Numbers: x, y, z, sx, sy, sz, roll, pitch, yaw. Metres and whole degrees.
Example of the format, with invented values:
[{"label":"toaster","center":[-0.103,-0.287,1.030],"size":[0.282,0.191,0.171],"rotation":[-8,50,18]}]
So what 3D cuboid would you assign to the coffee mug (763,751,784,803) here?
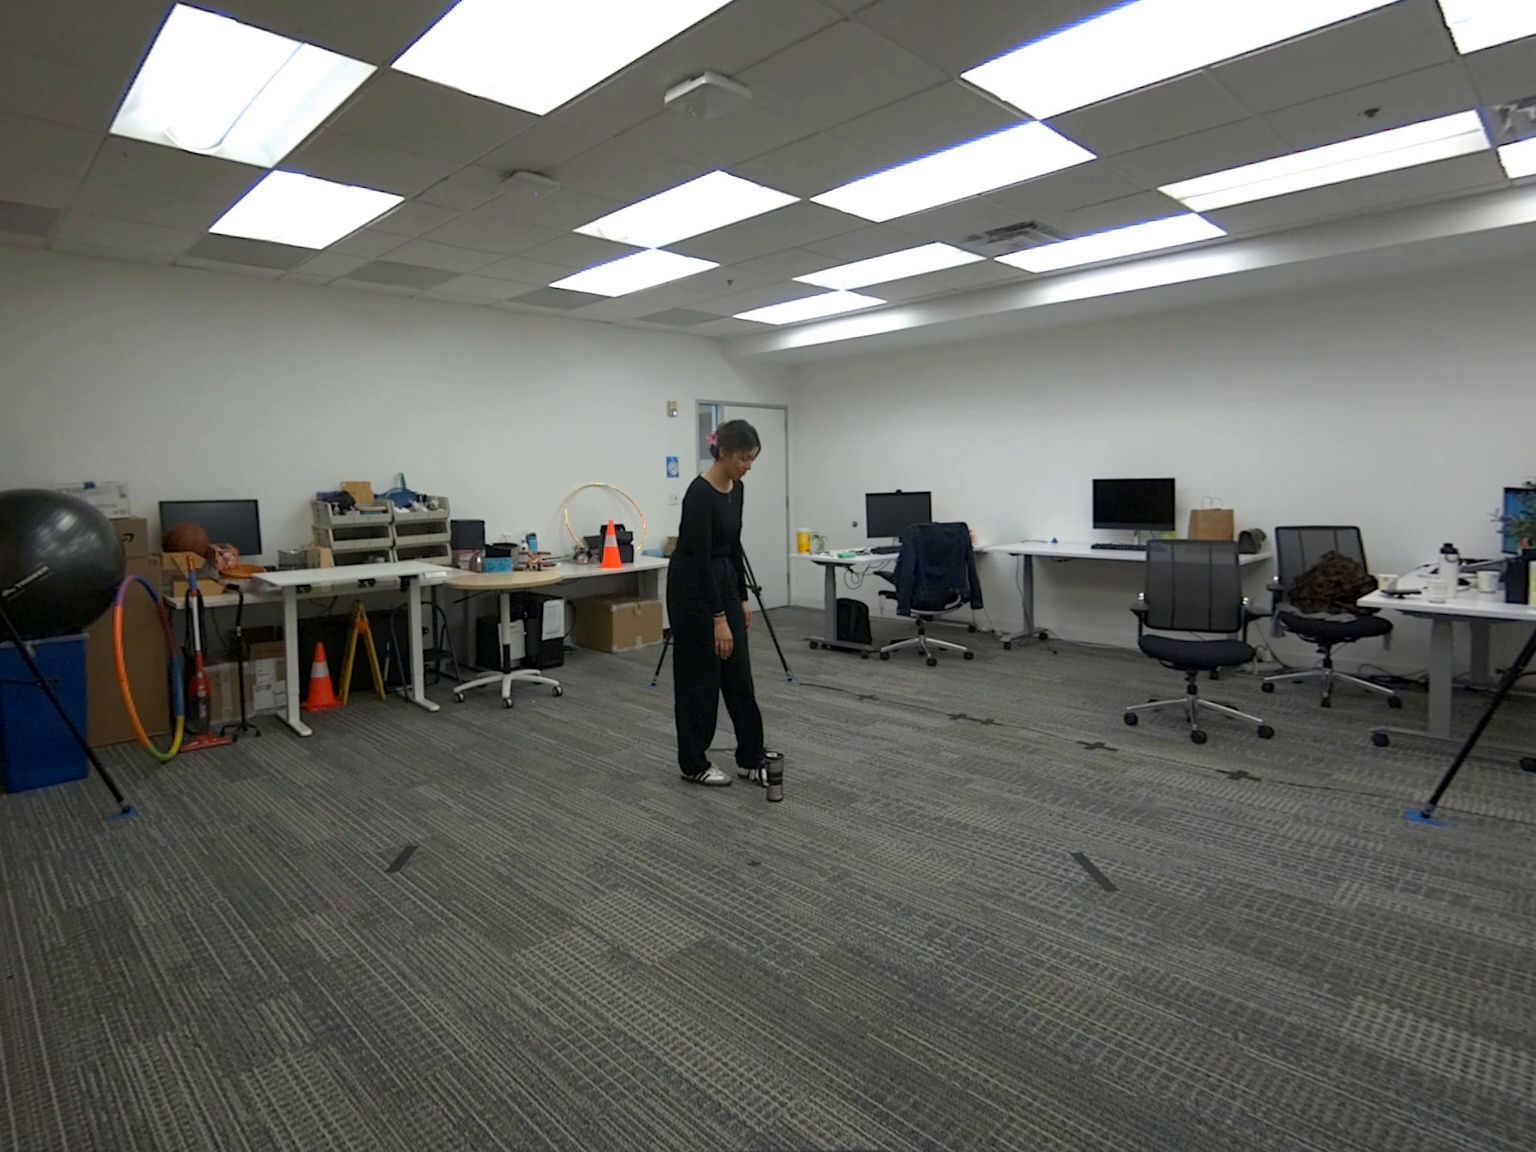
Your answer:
[{"label":"coffee mug","center":[0.007,0.877,3.722],"size":[0.121,0.202,0.089],"rotation":[-1,5,-11]}]
